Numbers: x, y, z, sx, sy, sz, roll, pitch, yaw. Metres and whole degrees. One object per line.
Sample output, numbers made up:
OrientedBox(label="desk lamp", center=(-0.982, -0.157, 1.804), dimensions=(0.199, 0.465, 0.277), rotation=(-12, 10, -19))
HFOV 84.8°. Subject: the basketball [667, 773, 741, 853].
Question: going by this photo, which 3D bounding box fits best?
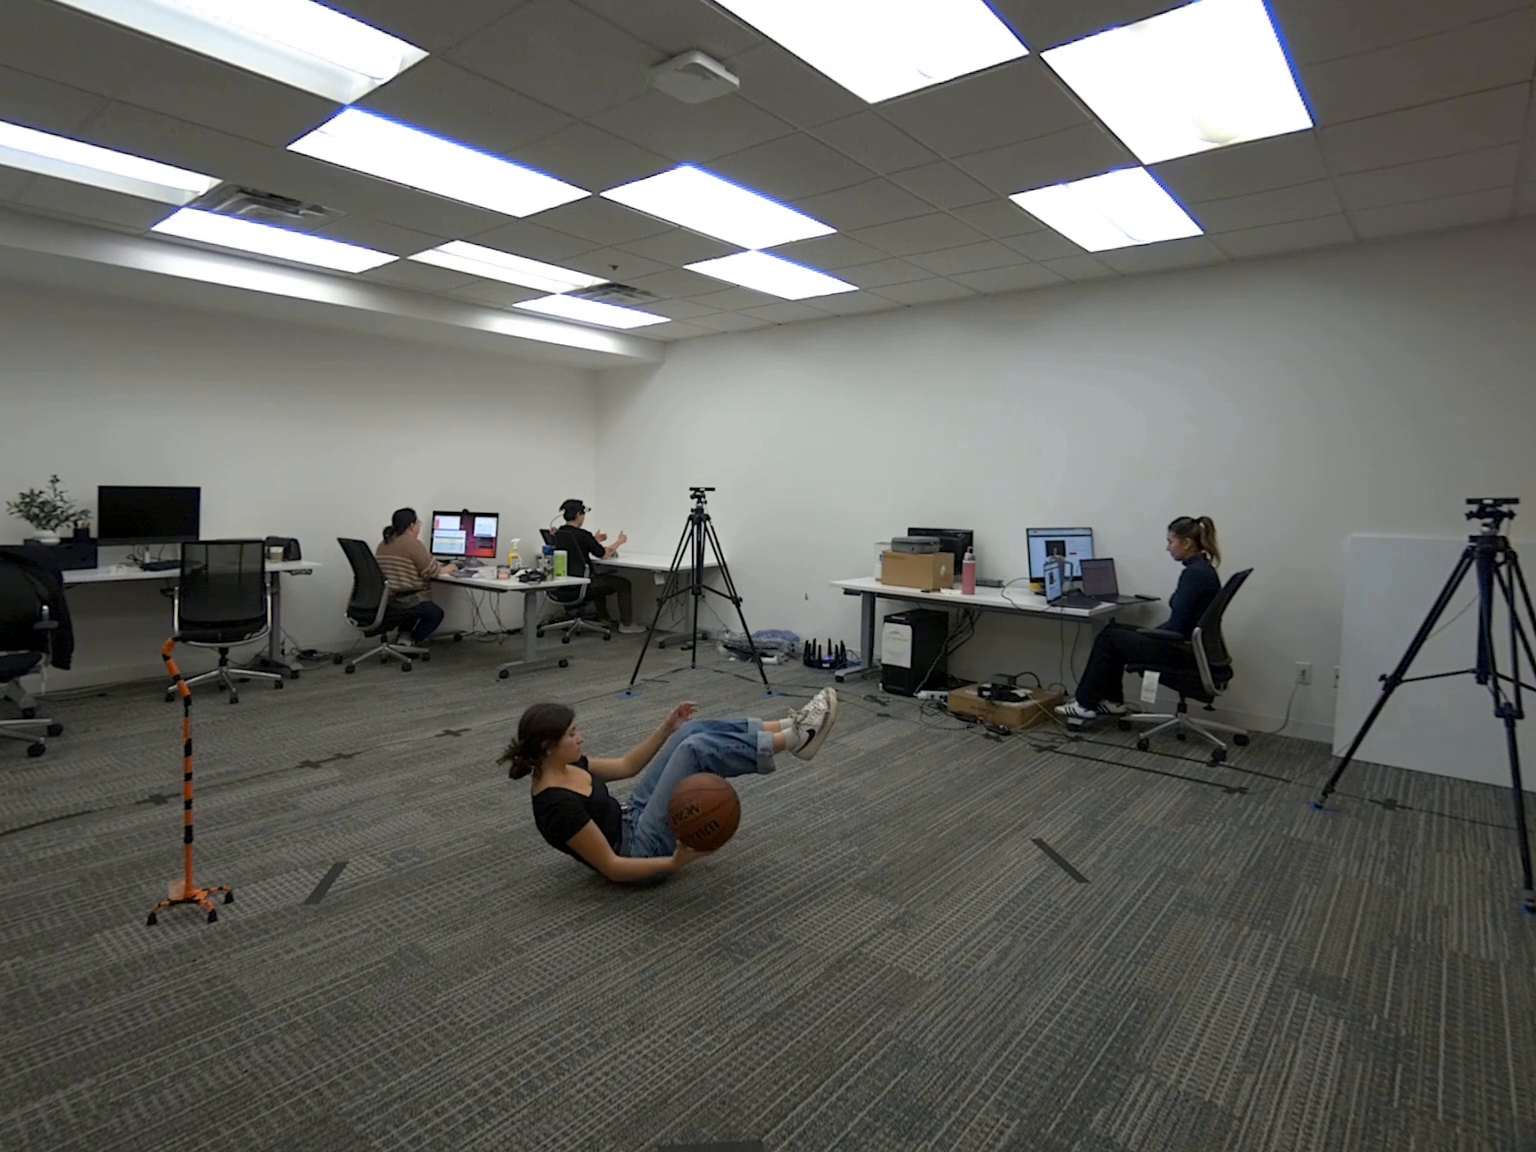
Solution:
OrientedBox(label="basketball", center=(-0.226, 0.751, 2.761), dimensions=(0.235, 0.235, 0.237), rotation=(1, 4, -2))
